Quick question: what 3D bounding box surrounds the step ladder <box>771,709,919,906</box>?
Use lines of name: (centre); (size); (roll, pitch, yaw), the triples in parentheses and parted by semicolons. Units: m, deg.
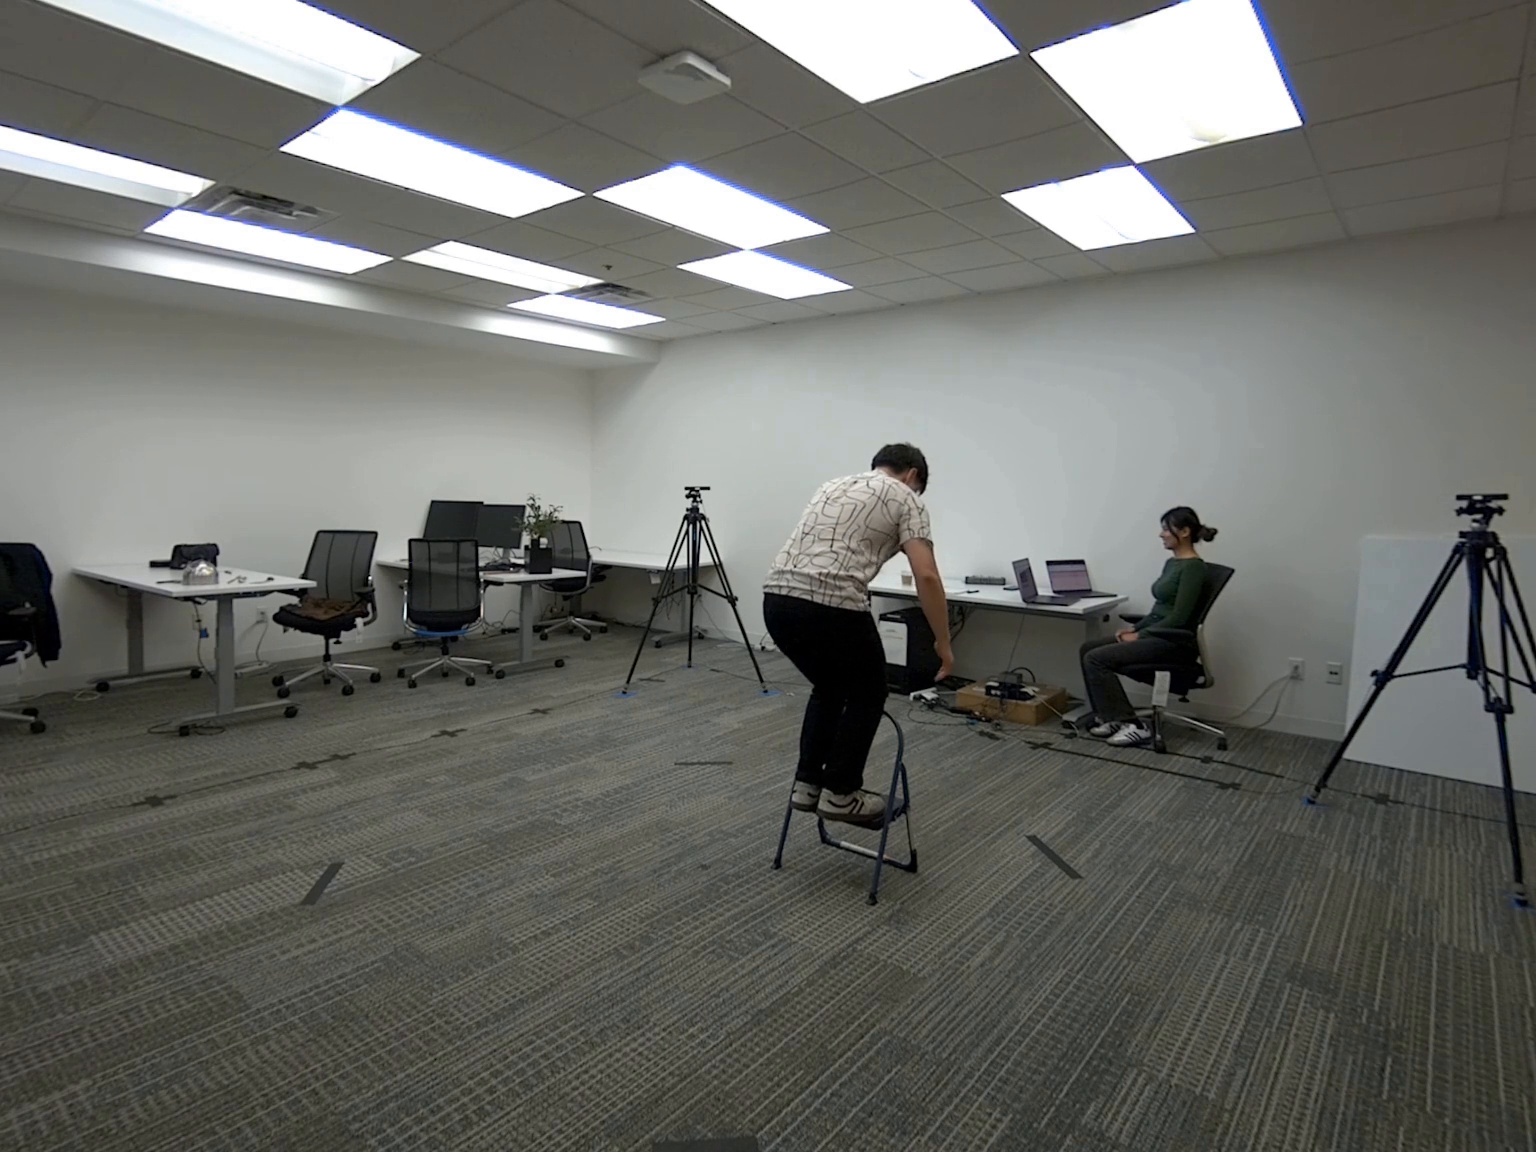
step ladder: (0.286, 0.770, 3.104); (0.445, 0.604, 0.339); (4, 4, 37)
